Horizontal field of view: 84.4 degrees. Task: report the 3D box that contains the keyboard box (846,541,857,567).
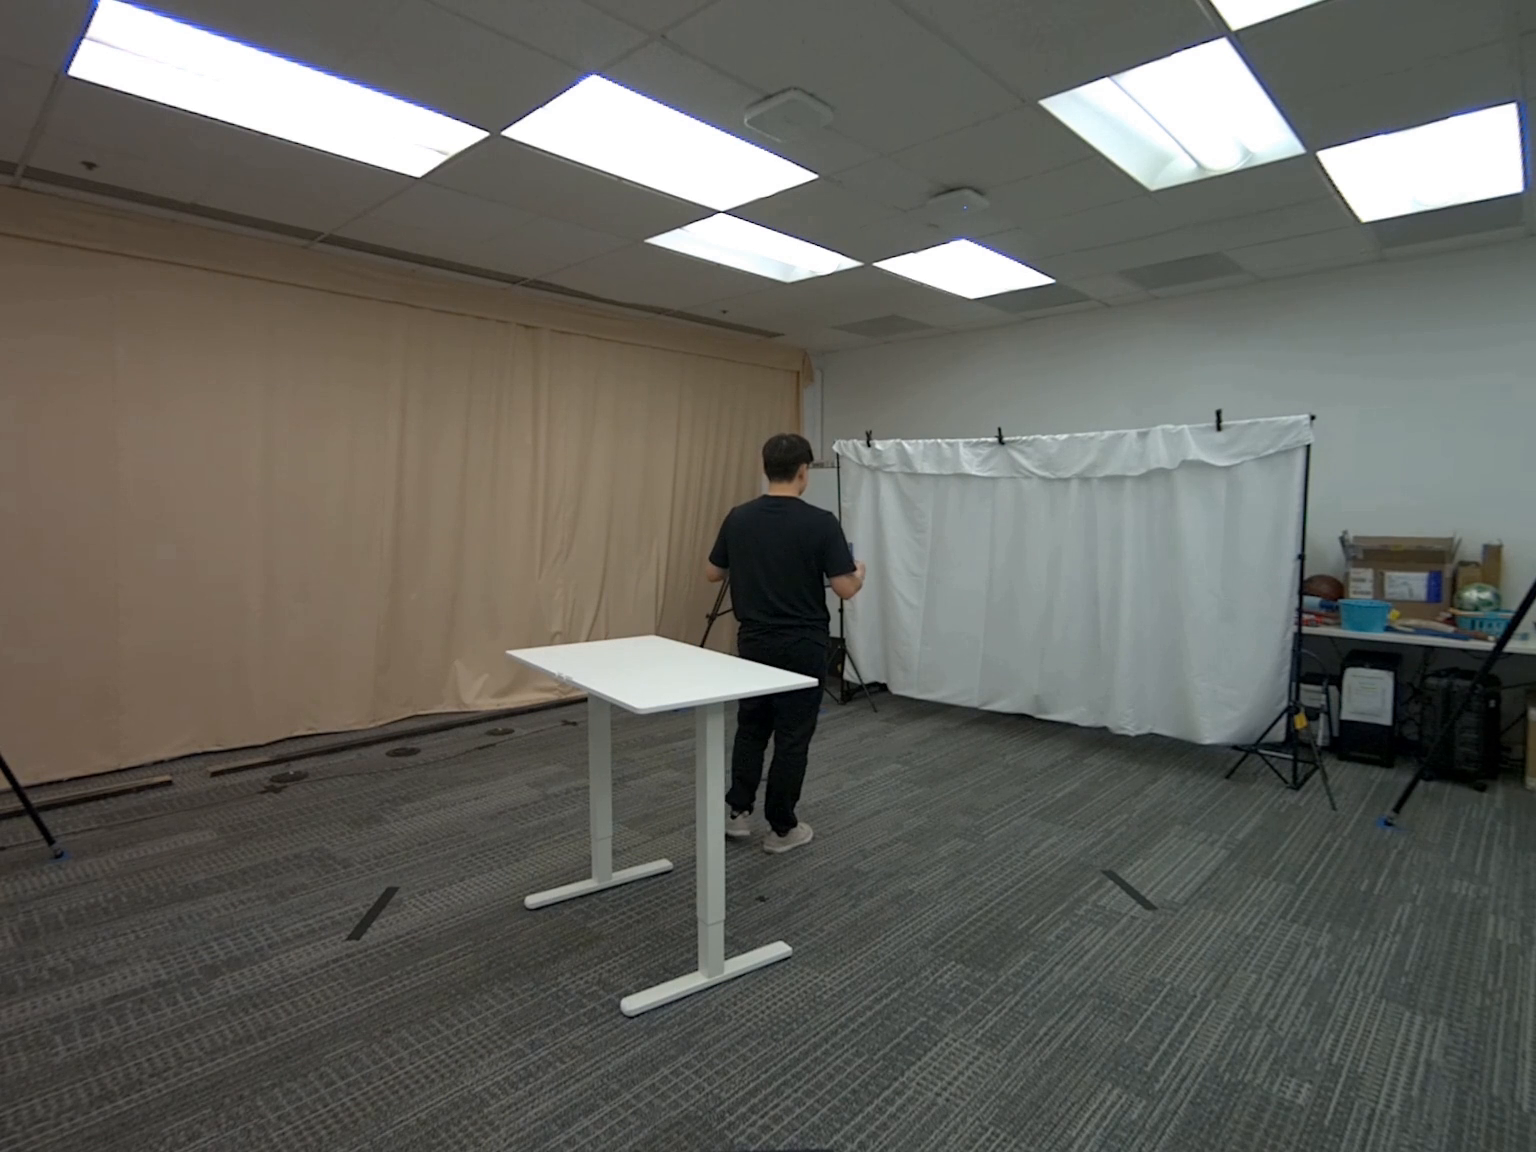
[{"bbox_3d":[0.166,-0.031,3.601,0.445,0.177,0.057,-6,-10,18],"label":"keyboard box"}]
